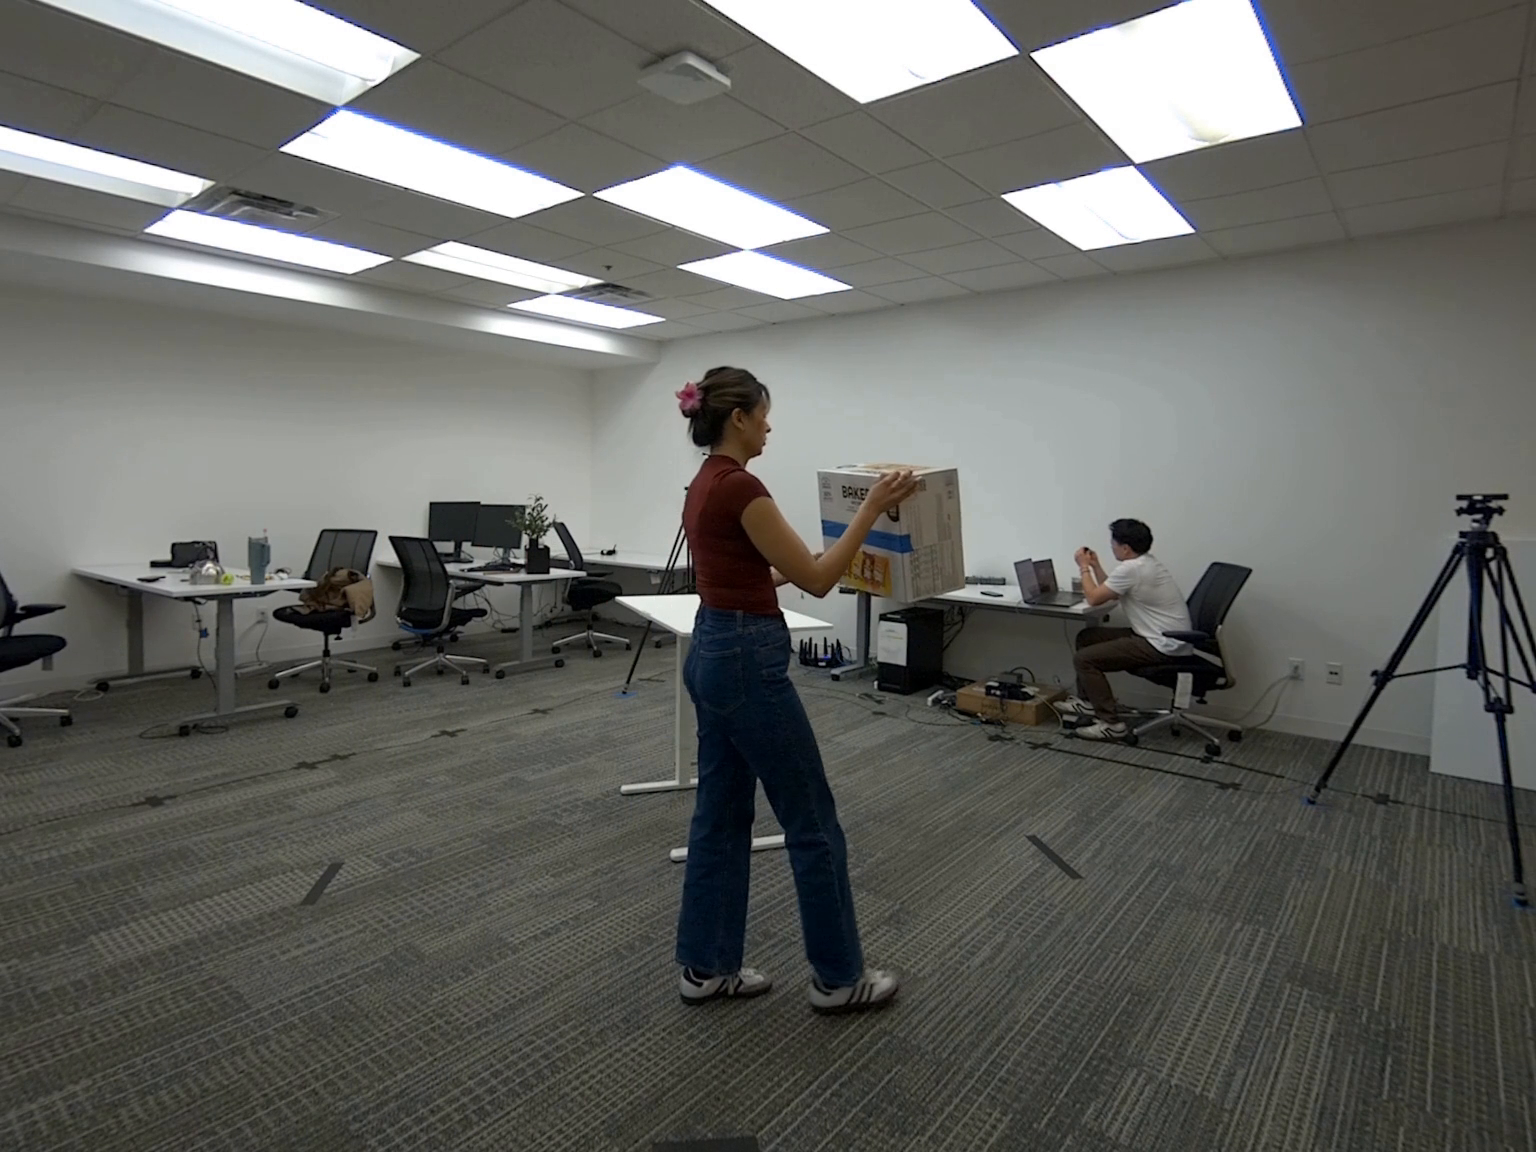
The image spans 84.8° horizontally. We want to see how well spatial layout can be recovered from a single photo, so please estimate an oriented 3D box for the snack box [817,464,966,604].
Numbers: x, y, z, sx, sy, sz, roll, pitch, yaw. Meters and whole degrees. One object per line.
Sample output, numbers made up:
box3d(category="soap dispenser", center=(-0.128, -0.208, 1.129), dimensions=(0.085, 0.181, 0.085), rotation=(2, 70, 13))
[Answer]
box3d(category="snack box", center=(0.341, -0.144, 2.448), dimensions=(0.202, 0.336, 0.418), rotation=(-11, 13, -25))
